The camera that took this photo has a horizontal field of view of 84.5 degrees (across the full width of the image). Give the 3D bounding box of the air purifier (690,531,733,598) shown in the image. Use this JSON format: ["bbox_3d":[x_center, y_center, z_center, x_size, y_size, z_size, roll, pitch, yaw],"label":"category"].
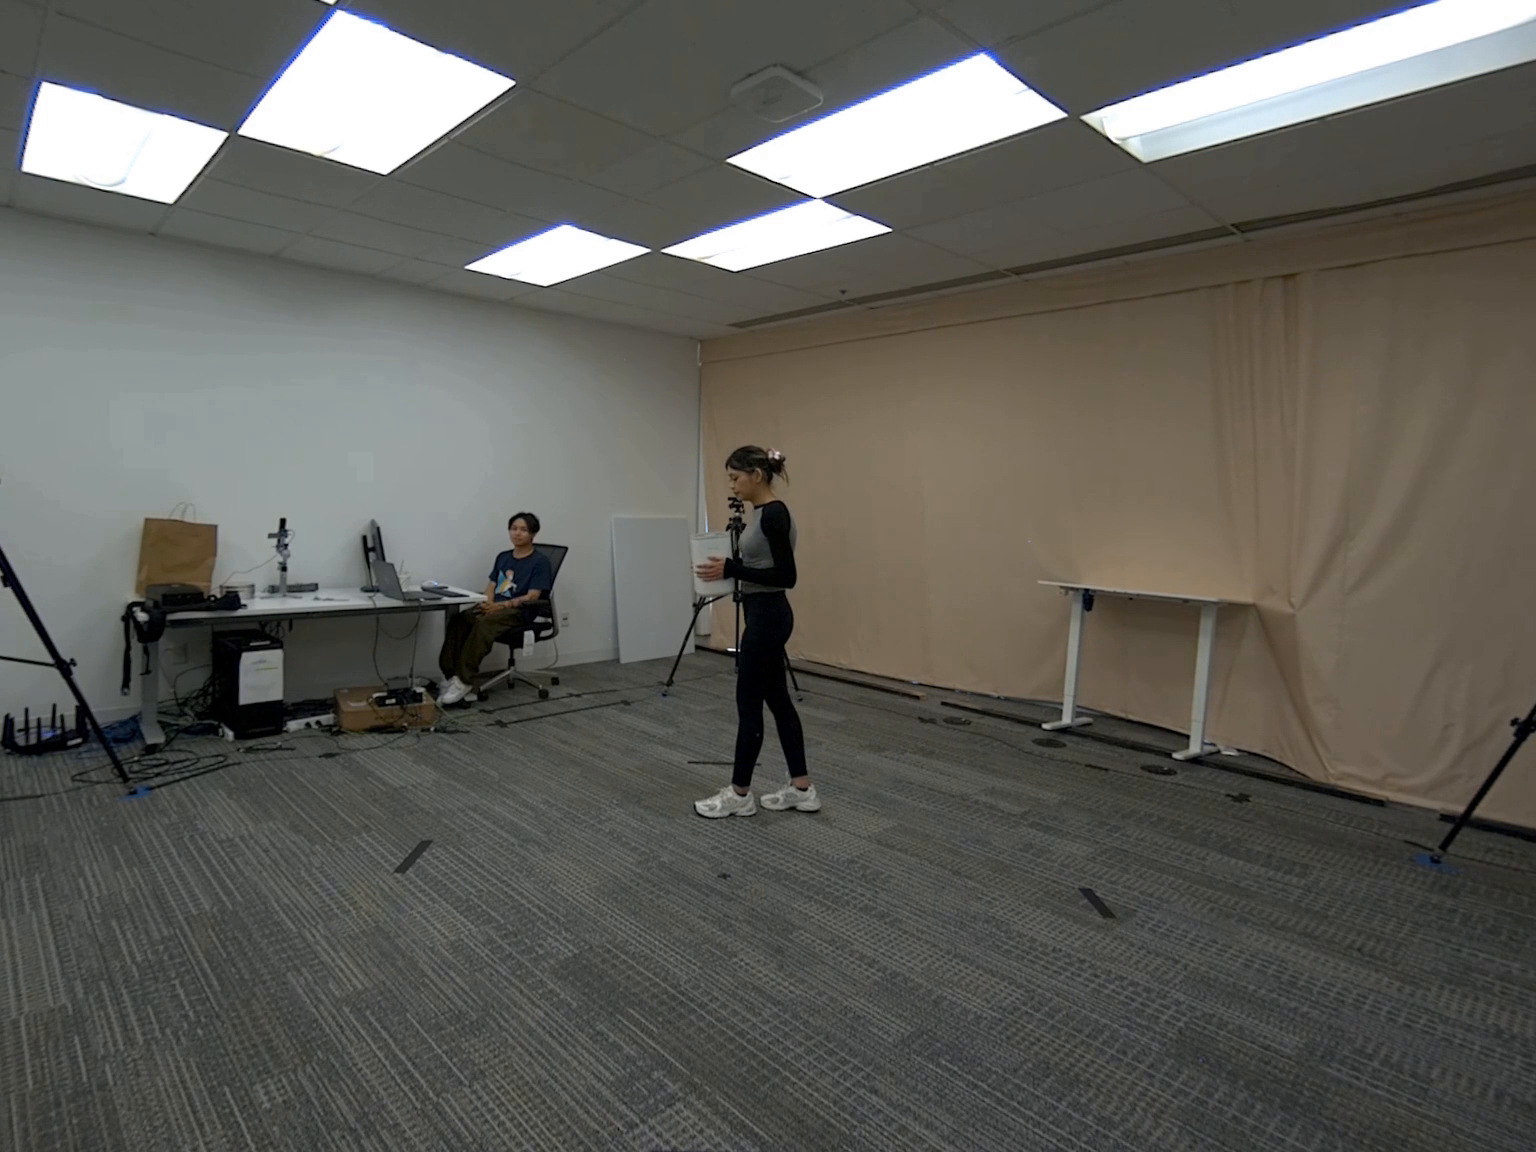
[{"bbox_3d":[-0.242,-0.051,3.695,0.171,0.263,0.173,-6,10,-2],"label":"air purifier"}]
